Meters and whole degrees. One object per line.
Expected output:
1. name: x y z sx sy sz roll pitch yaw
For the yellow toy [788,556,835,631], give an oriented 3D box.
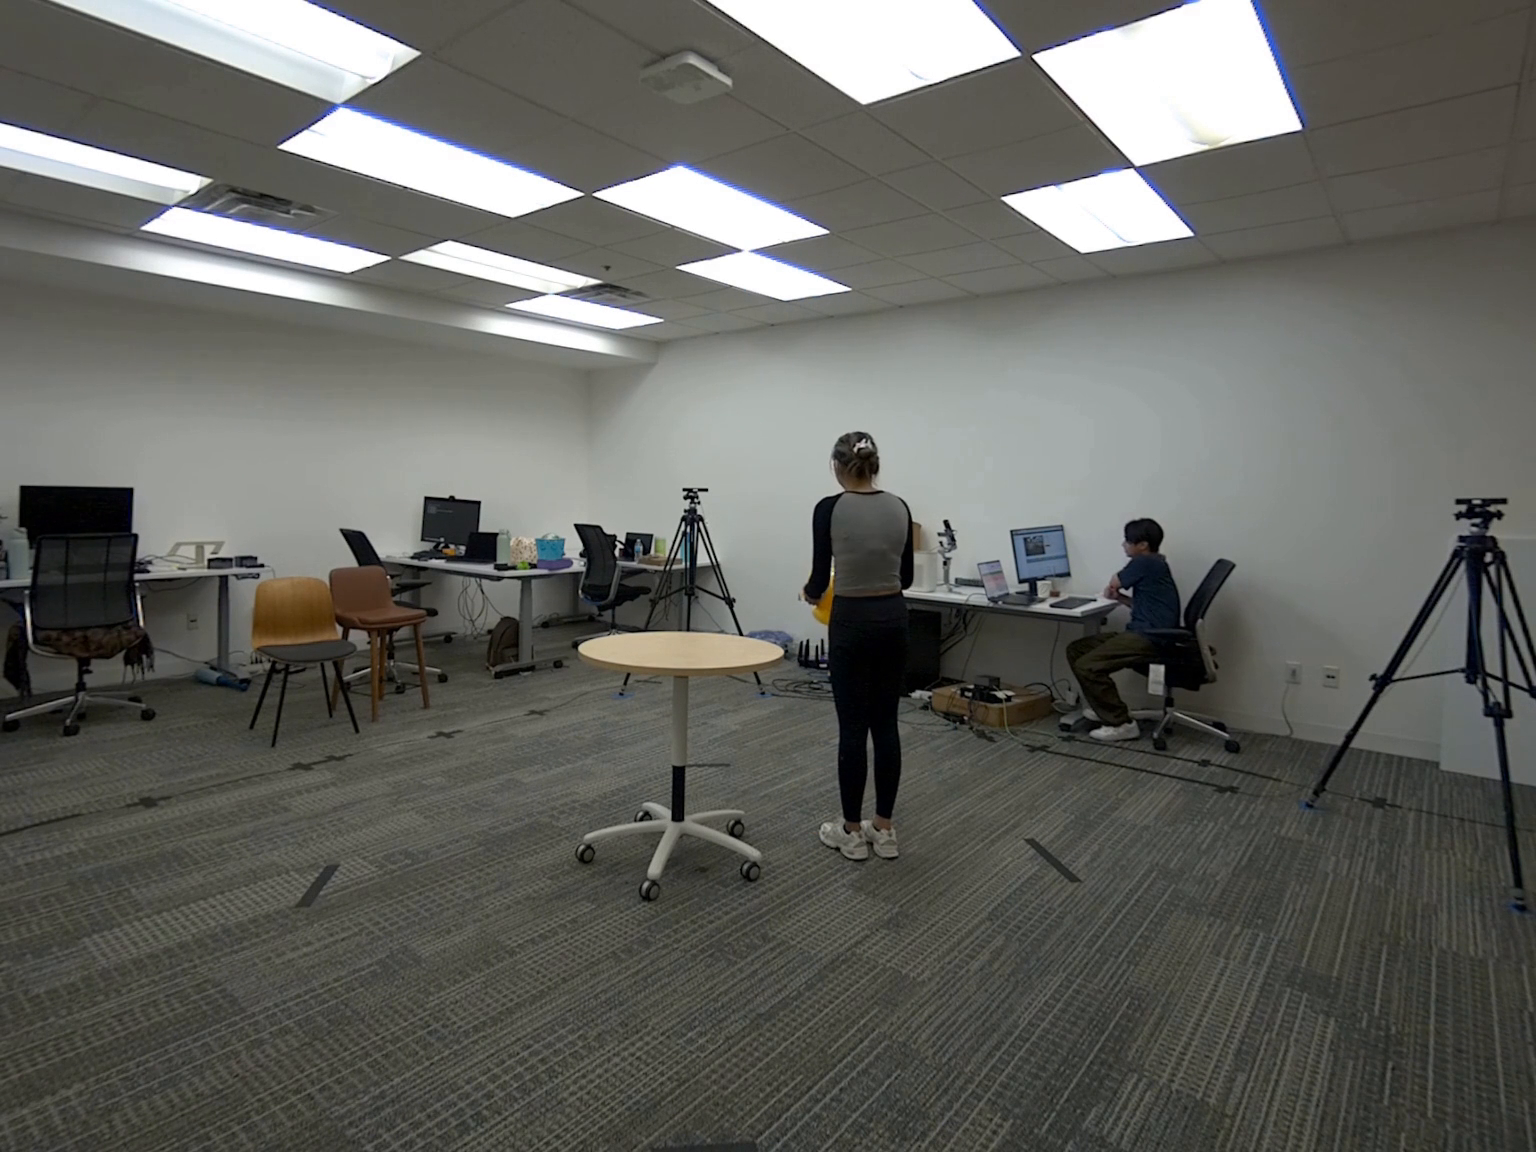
1. yellow toy: 0.252 0.051 3.614 0.204 0.222 0.201 -32 37 -10
